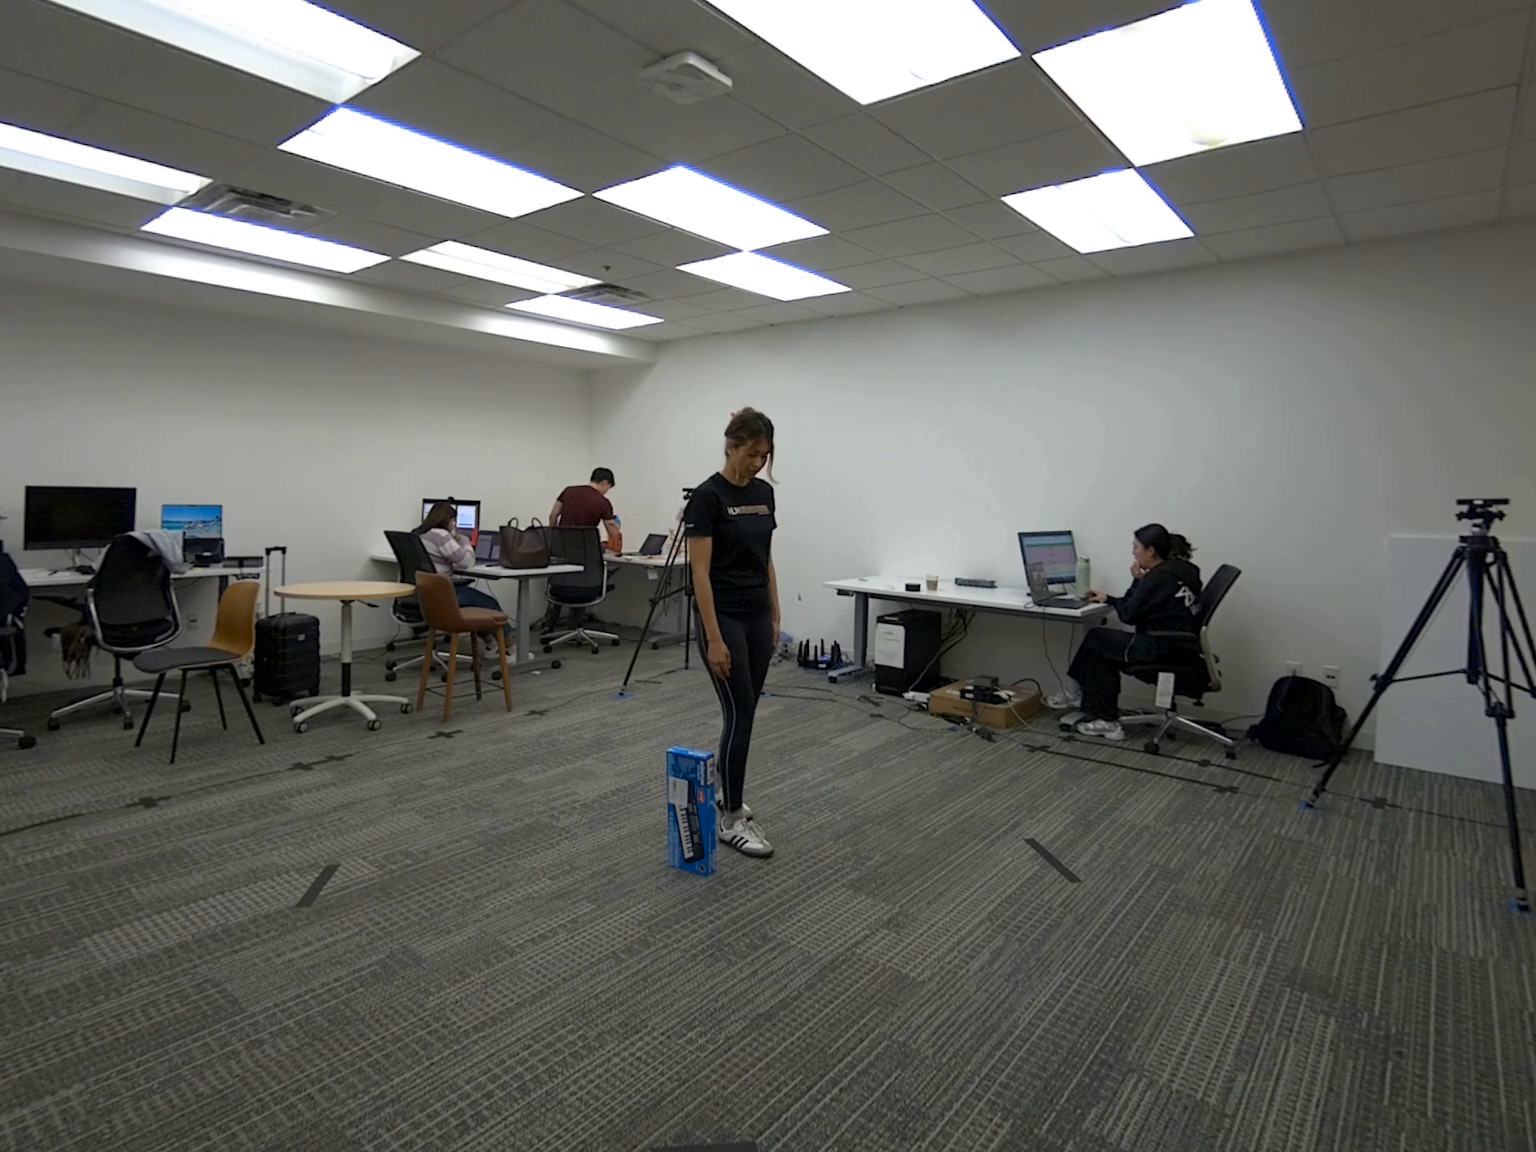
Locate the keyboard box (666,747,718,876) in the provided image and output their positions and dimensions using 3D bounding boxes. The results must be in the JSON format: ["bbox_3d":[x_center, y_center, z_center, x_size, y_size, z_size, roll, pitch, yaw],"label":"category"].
[{"bbox_3d":[-0.291,0.851,3.096,0.181,0.434,0.058,3,6,28],"label":"keyboard box"}]
